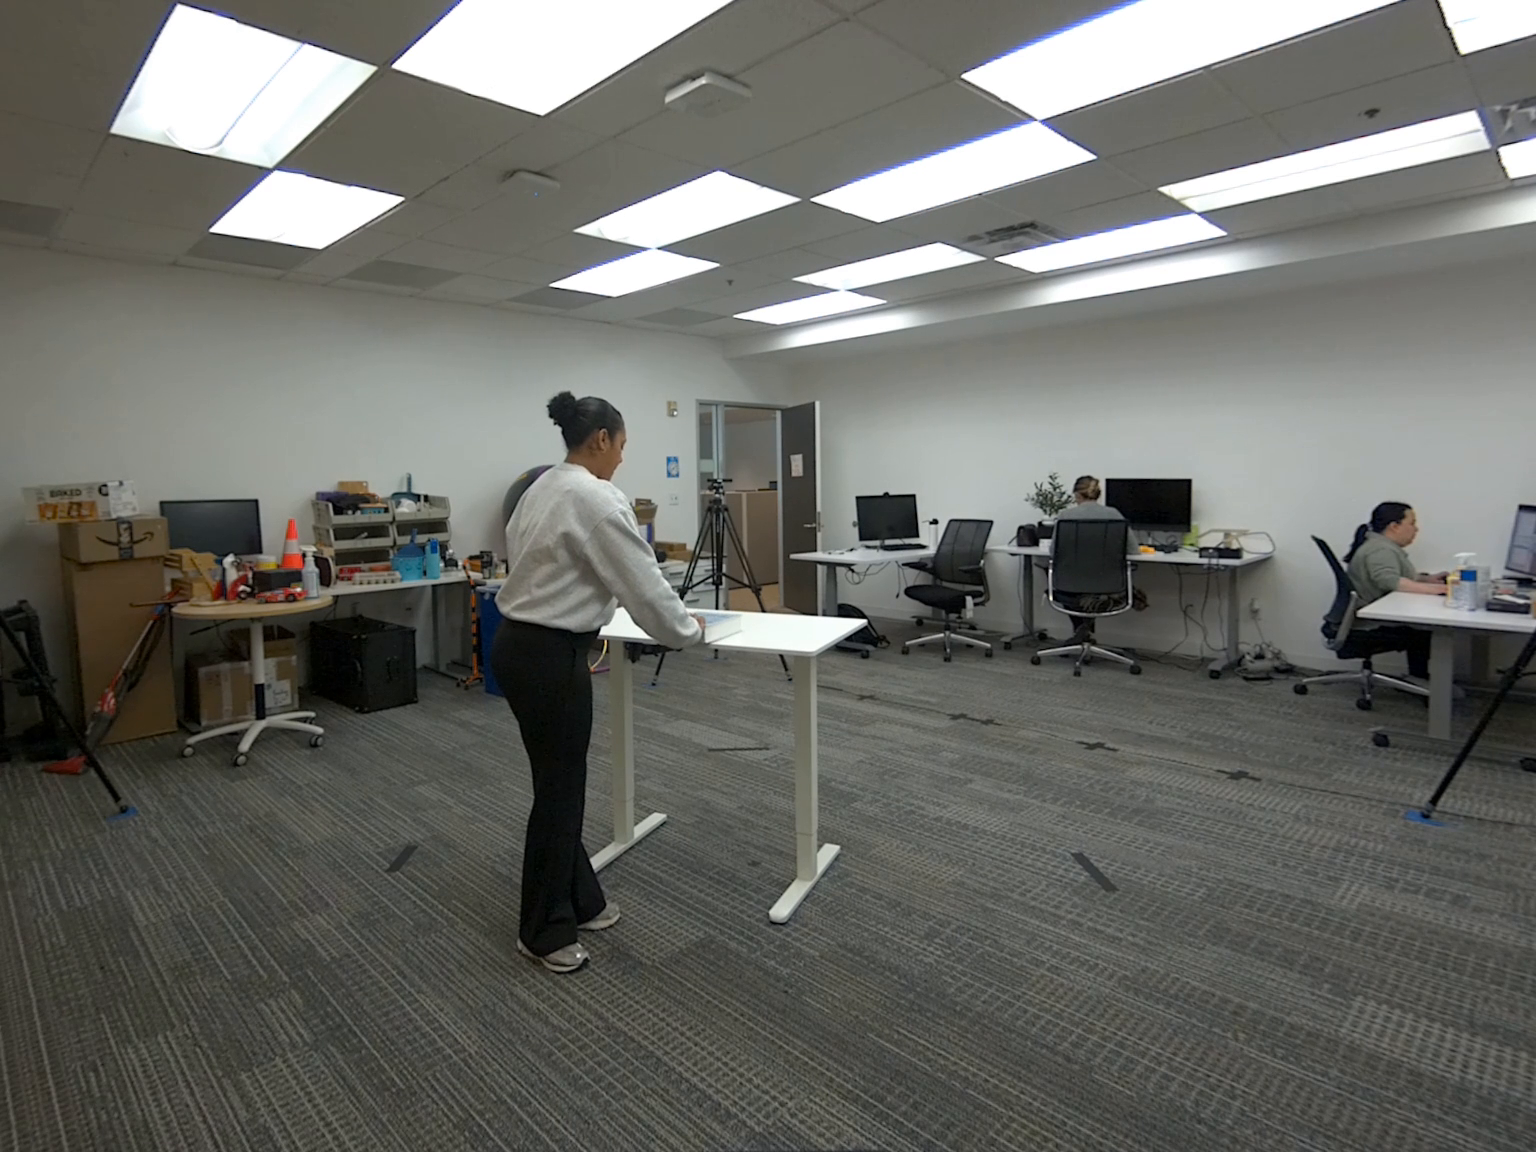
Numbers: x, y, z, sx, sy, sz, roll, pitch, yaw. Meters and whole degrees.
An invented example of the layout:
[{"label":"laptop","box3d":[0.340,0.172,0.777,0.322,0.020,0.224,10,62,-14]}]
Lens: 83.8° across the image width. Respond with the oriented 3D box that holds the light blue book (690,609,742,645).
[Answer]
[{"label":"light blue book","box3d":[-0.222,0.166,2.847,0.196,0.059,0.256,2,6,27]}]
